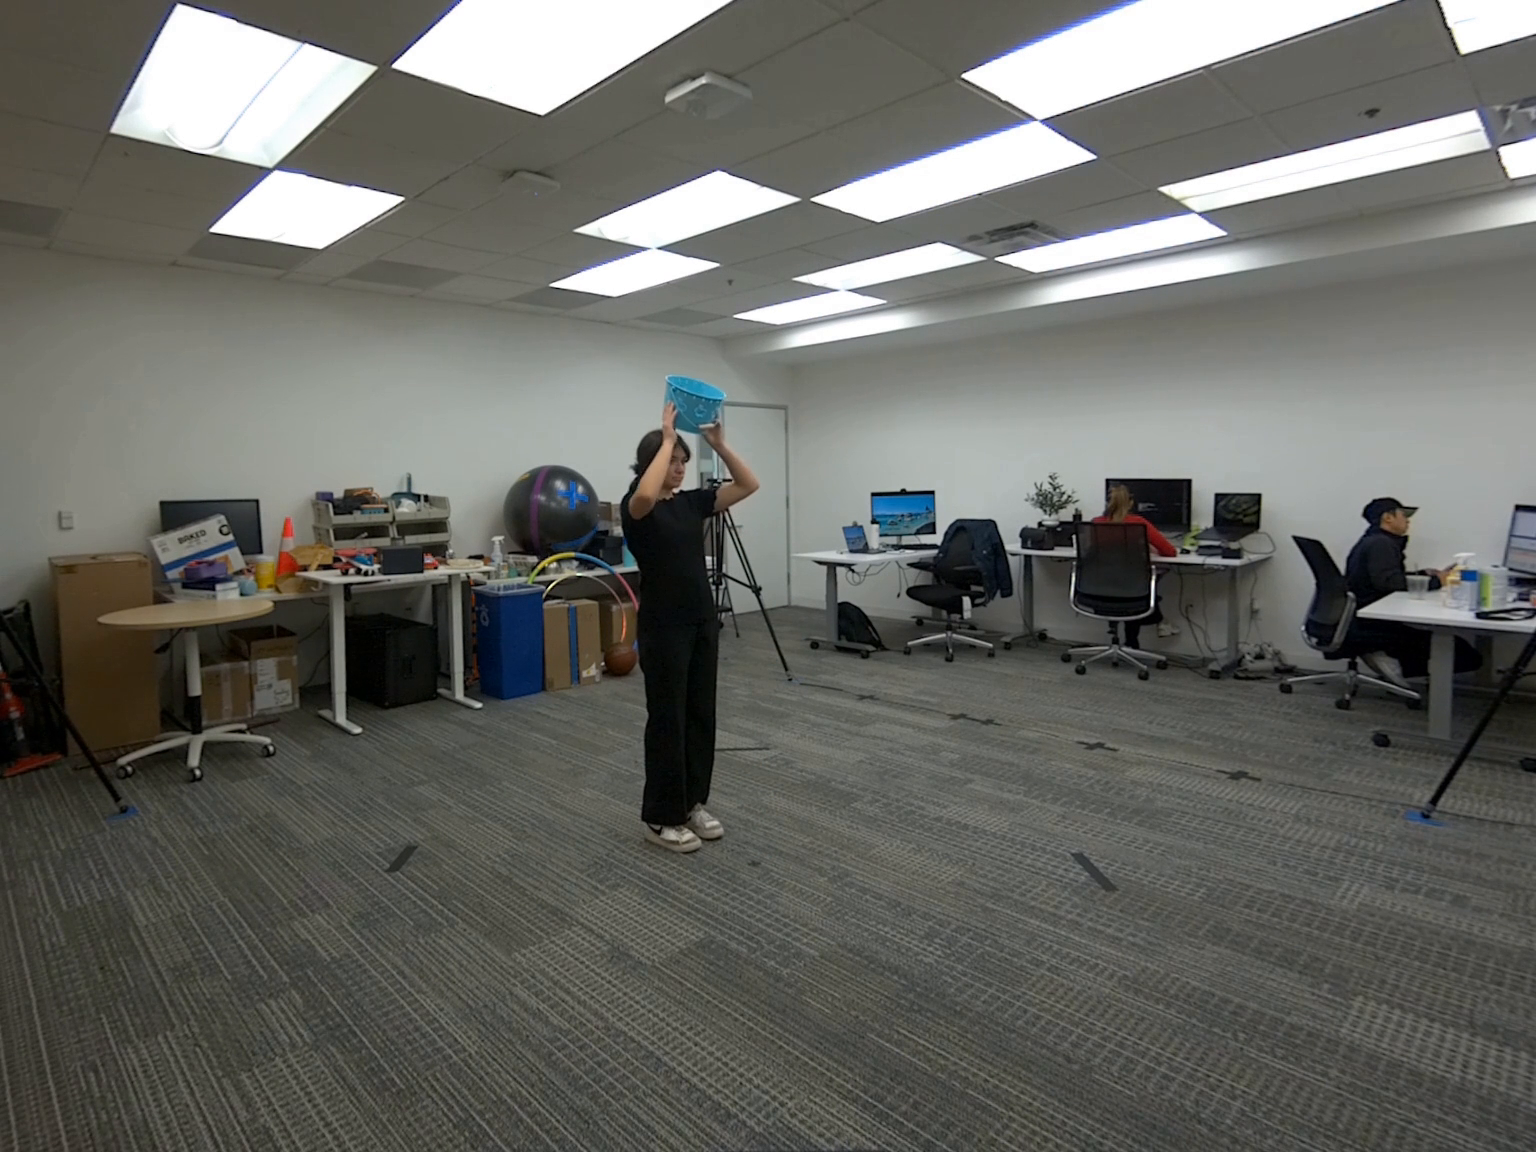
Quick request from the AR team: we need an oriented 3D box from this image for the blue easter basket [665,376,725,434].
[{"bbox_3d":[-0.290,-0.626,3.174,0.241,0.154,0.249,15,24,-8],"label":"blue easter basket"}]
